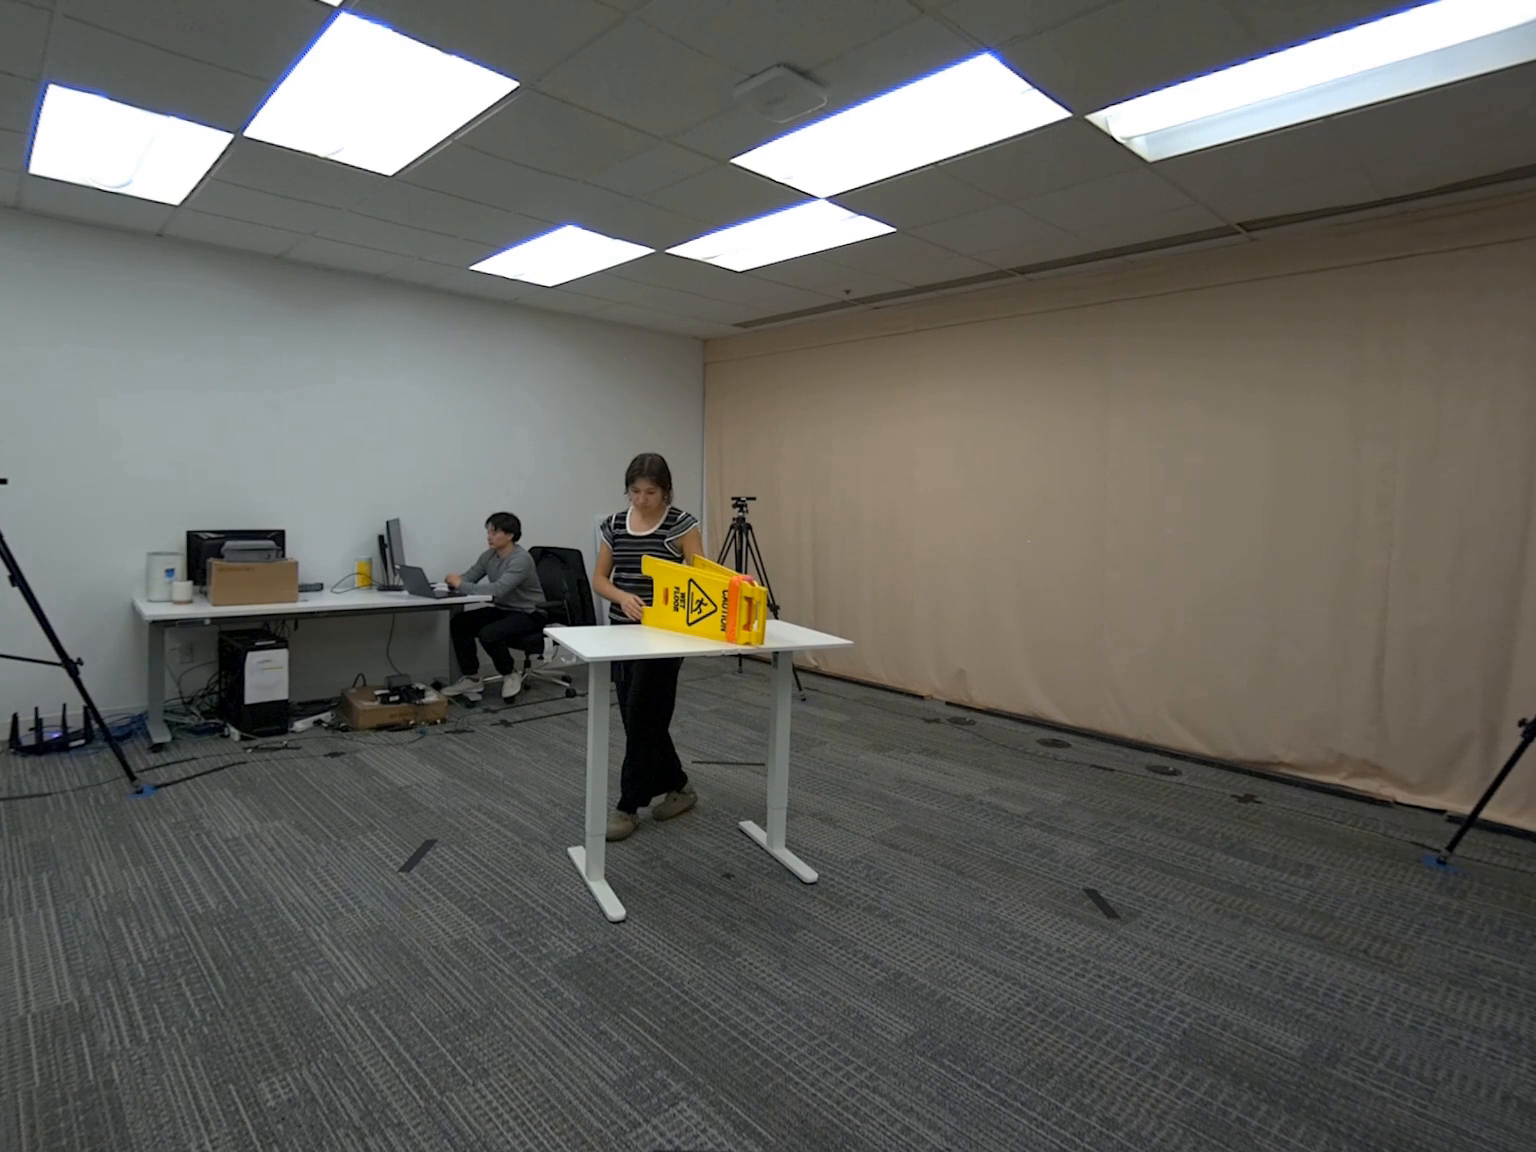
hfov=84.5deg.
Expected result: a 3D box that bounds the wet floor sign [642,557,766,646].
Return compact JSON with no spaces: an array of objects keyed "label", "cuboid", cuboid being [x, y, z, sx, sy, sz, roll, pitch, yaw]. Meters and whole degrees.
[{"label":"wet floor sign","cuboid":[-0.210,0.099,3.124,0.283,0.281,0.663,-2,9,-37]}]
